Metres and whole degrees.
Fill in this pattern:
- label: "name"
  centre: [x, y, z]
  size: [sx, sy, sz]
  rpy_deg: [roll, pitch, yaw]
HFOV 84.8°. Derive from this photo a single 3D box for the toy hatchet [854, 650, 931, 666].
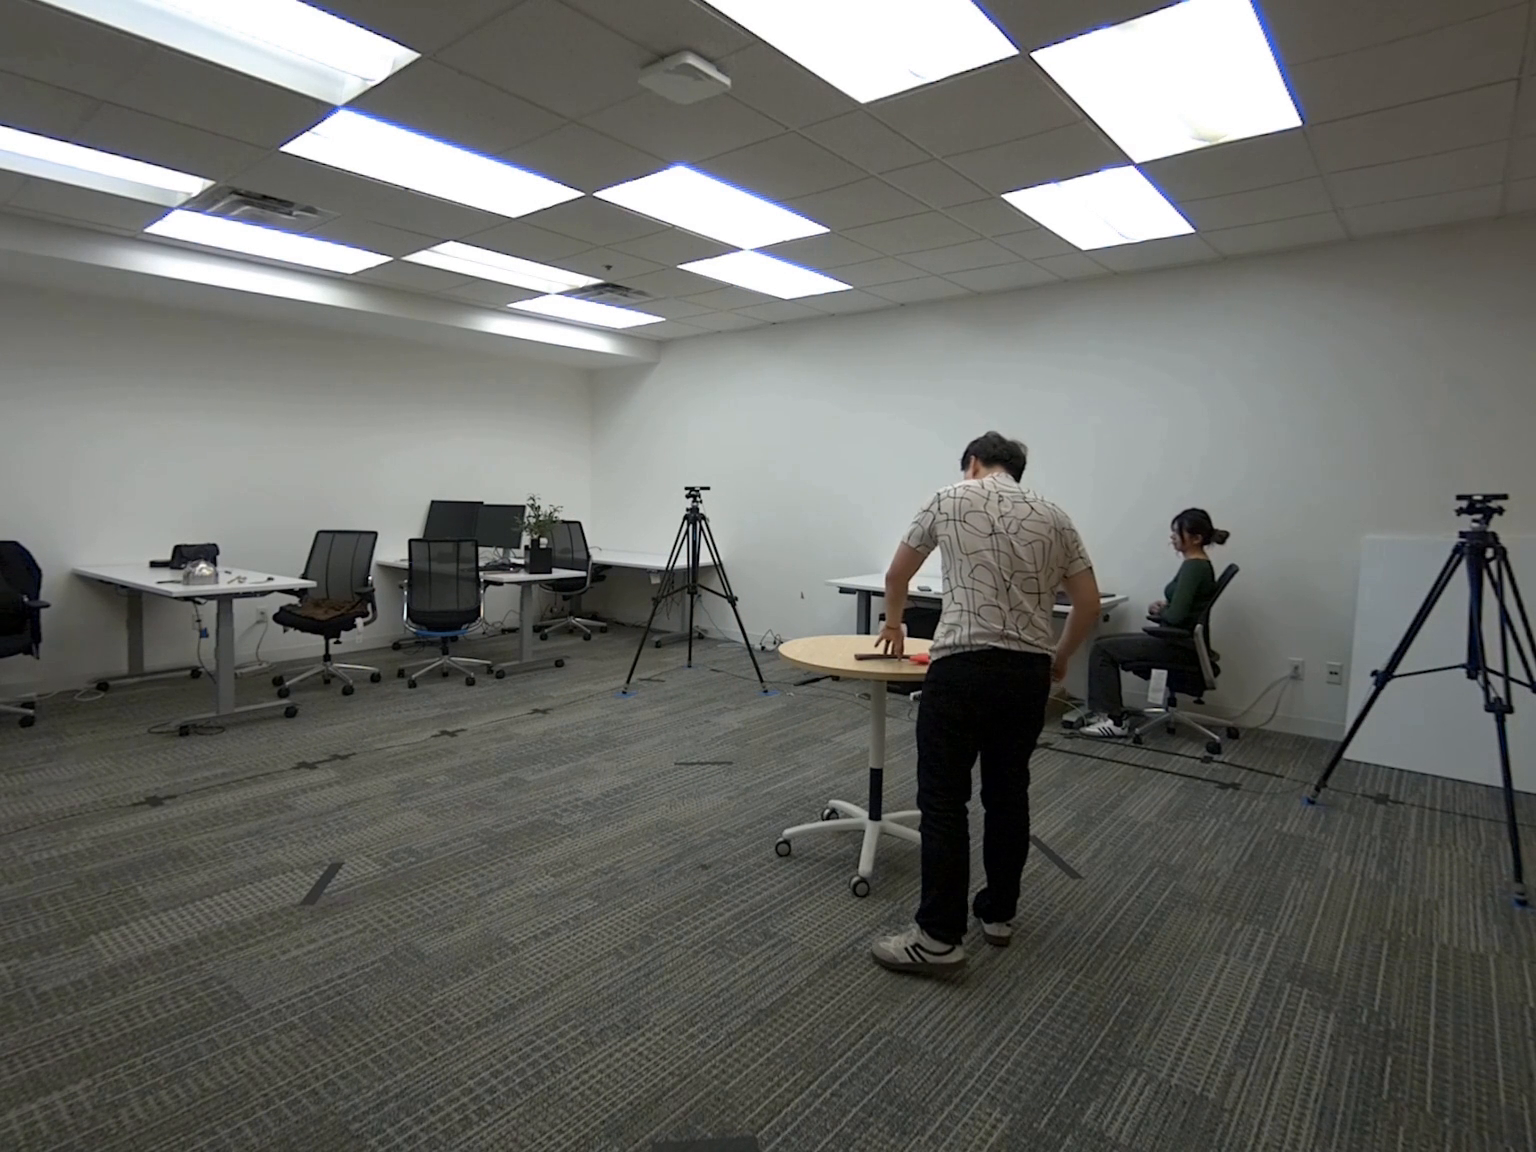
- label: "toy hatchet"
  centre: [0.452, 0.288, 3.010]
  size: [0.268, 0.029, 0.132]
  rpy_deg: [-1, 2, -8]
